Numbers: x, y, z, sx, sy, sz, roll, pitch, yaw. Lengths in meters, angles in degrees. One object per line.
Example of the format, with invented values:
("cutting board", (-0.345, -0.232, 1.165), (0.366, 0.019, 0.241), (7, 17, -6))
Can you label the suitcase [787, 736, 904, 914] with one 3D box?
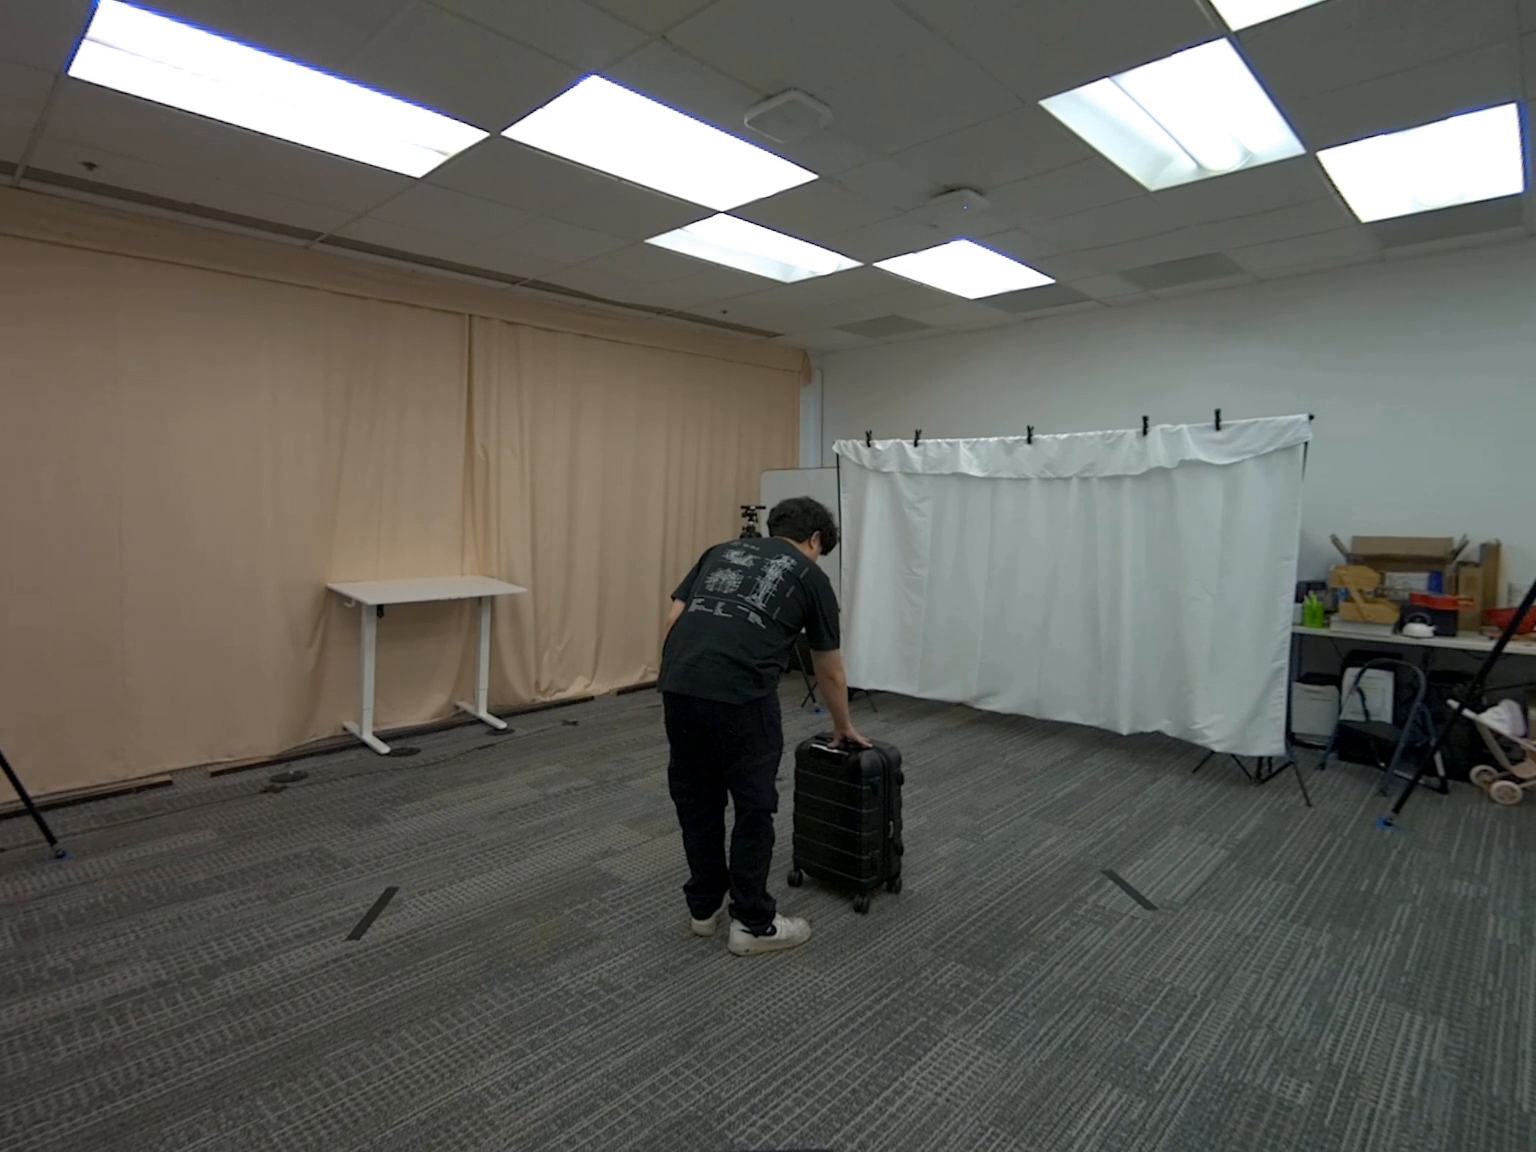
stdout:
("suitcase", (0.291, 0.861, 3.072), (0.388, 0.549, 0.240), (3, 2, 43))
